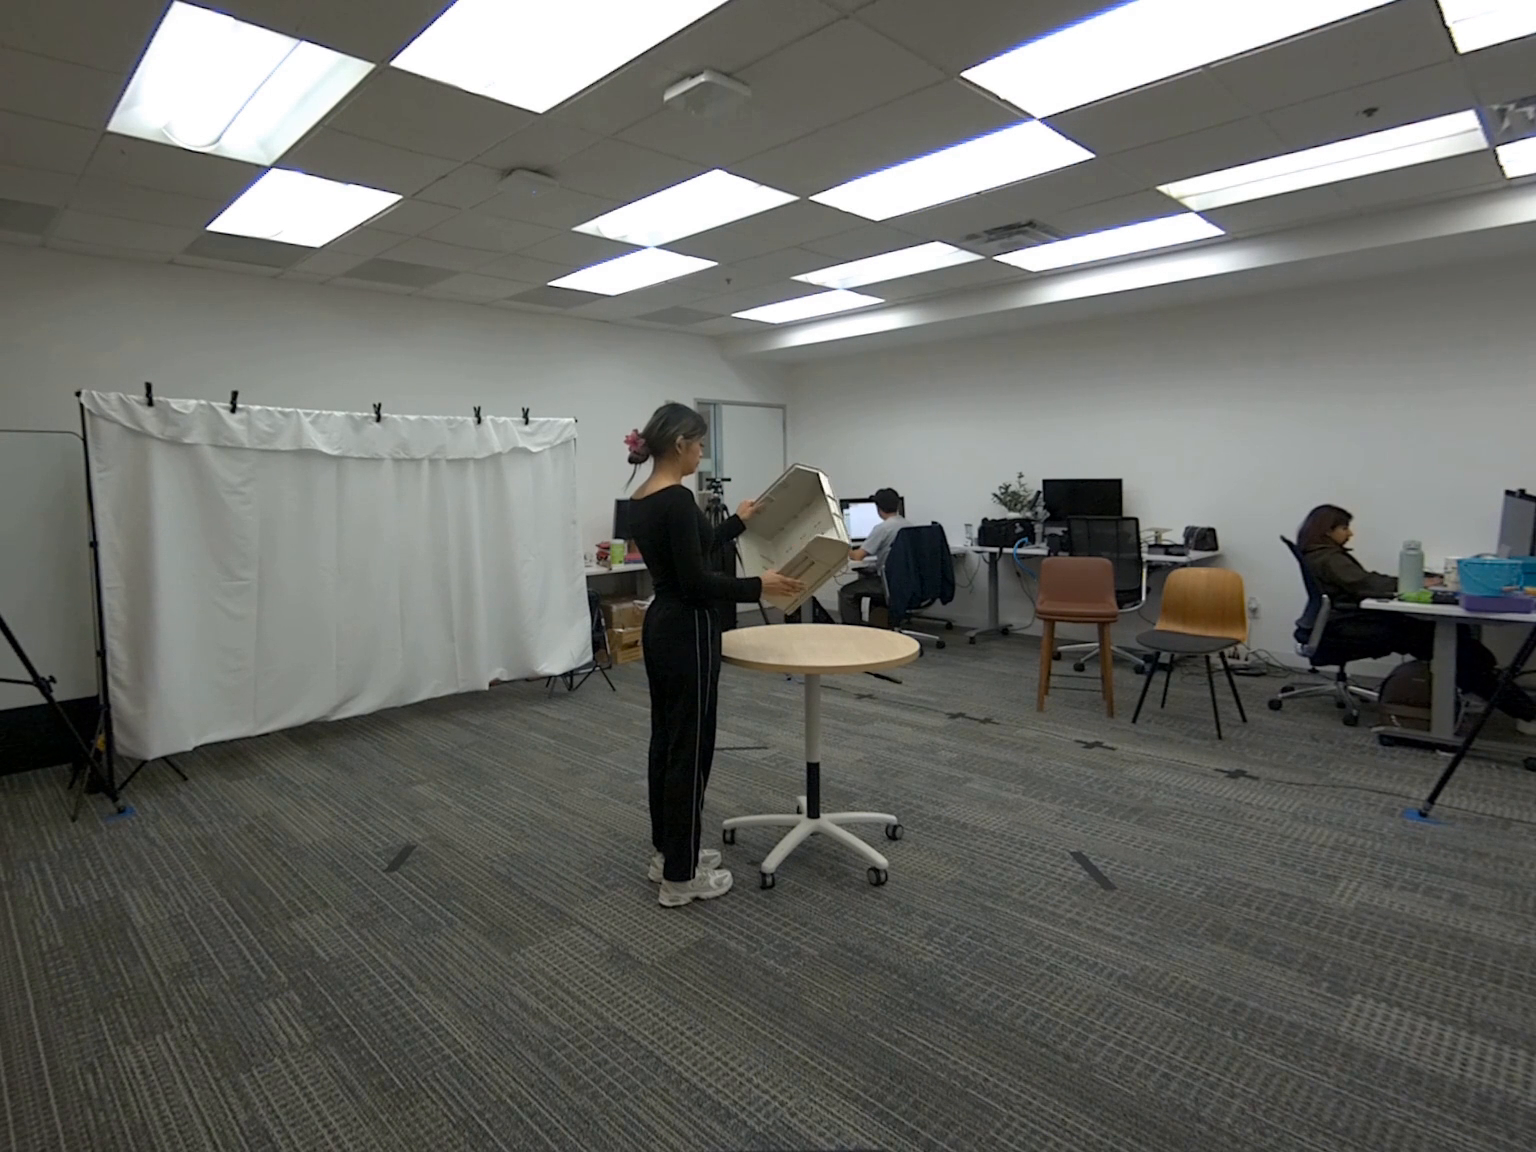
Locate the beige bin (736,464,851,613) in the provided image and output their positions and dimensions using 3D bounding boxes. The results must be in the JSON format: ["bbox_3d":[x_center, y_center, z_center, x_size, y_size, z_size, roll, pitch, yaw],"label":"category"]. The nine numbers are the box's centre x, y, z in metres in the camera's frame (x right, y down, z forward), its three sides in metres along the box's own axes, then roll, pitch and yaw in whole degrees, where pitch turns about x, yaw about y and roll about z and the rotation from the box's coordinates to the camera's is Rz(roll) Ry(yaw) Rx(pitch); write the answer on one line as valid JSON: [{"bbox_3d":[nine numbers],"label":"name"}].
[{"bbox_3d":[0.091,-0.142,3.078,0.183,0.378,0.436,30,30,-31],"label":"beige bin"}]
